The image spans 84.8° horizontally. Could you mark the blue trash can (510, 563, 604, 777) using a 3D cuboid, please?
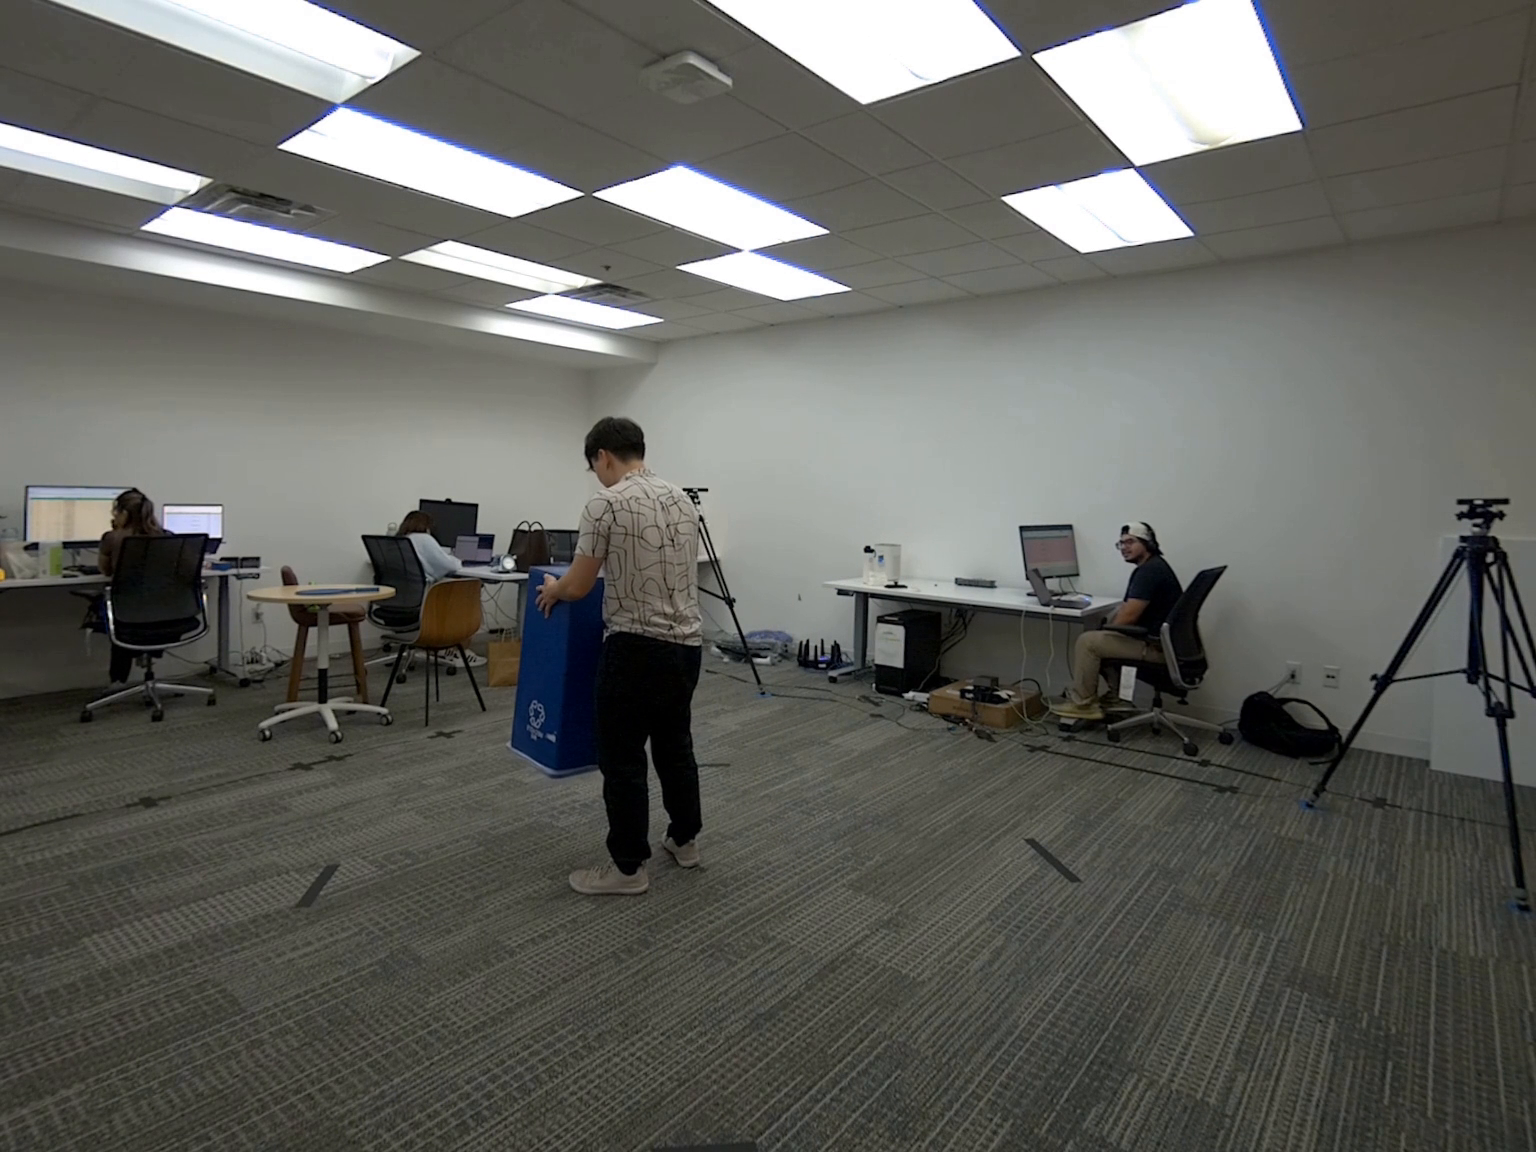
[{"bbox_3d":[-0.744,0.336,3.215,0.362,0.711,0.392,0,6,-45],"label":"blue trash can"}]
